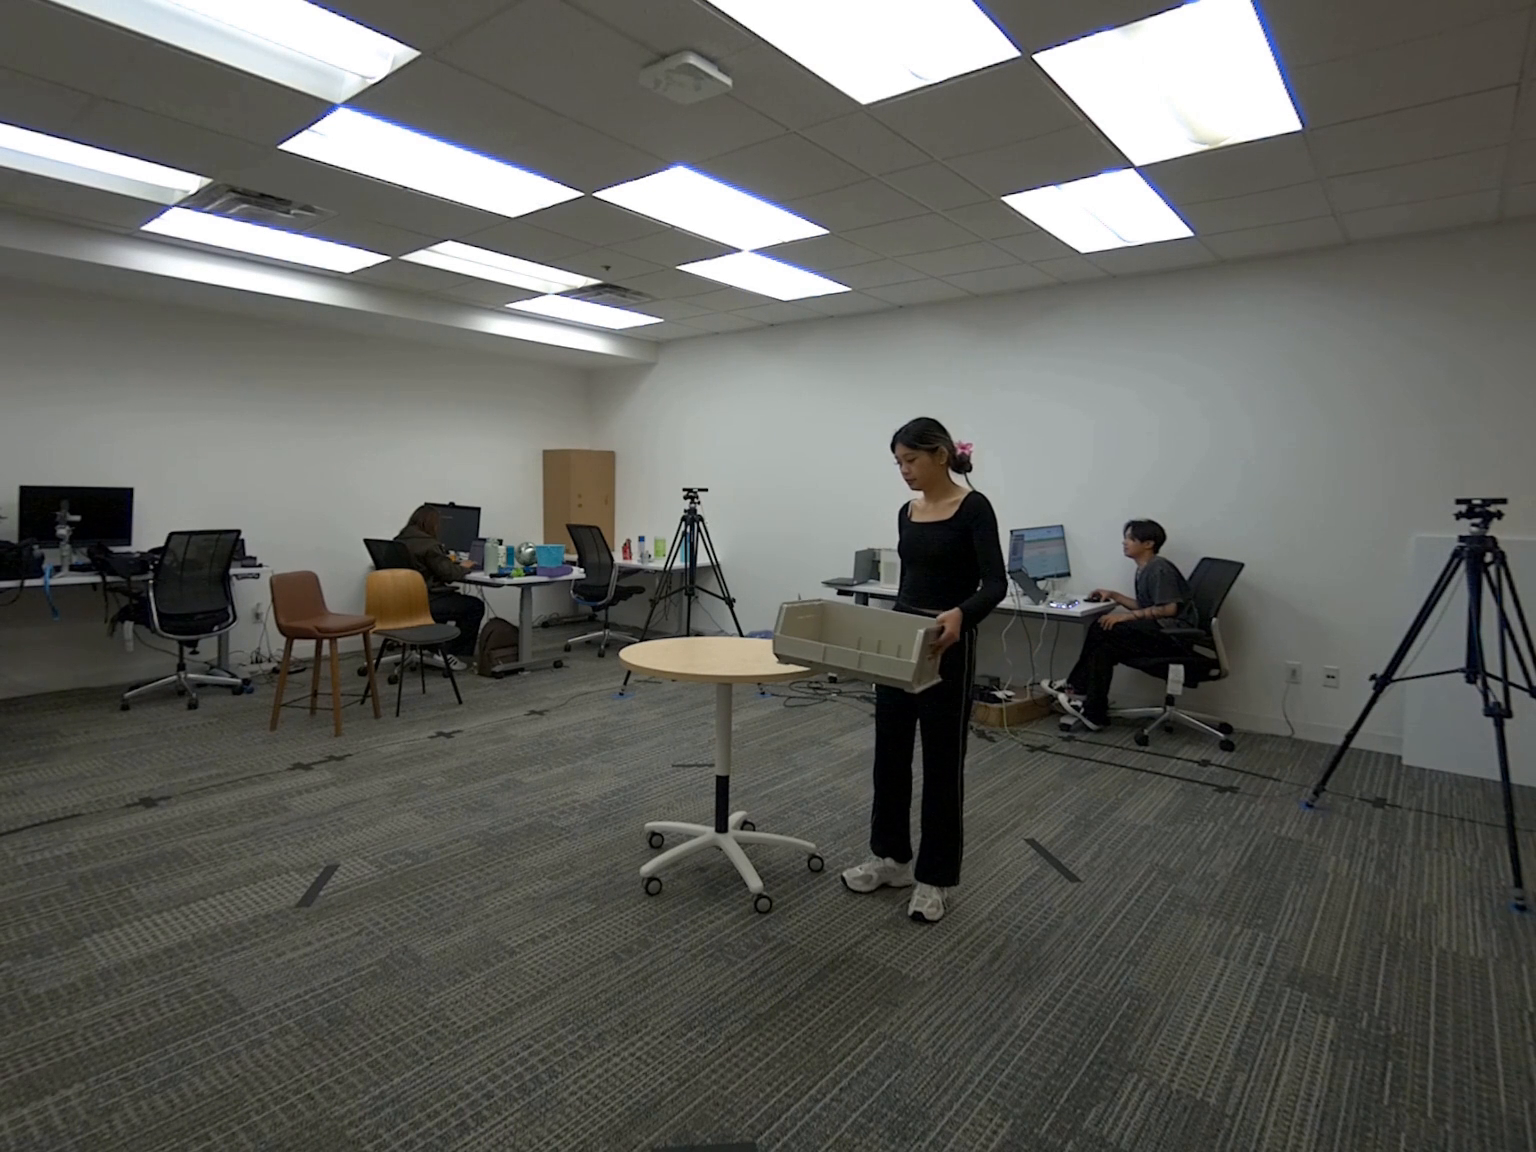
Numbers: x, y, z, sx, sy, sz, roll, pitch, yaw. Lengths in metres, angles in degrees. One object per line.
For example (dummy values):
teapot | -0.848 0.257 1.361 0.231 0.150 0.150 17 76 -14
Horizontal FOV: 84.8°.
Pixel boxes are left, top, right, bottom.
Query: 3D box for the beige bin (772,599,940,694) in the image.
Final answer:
beige bin | 0.270 0.194 2.494 0.434 0.189 0.367 9 3 25
